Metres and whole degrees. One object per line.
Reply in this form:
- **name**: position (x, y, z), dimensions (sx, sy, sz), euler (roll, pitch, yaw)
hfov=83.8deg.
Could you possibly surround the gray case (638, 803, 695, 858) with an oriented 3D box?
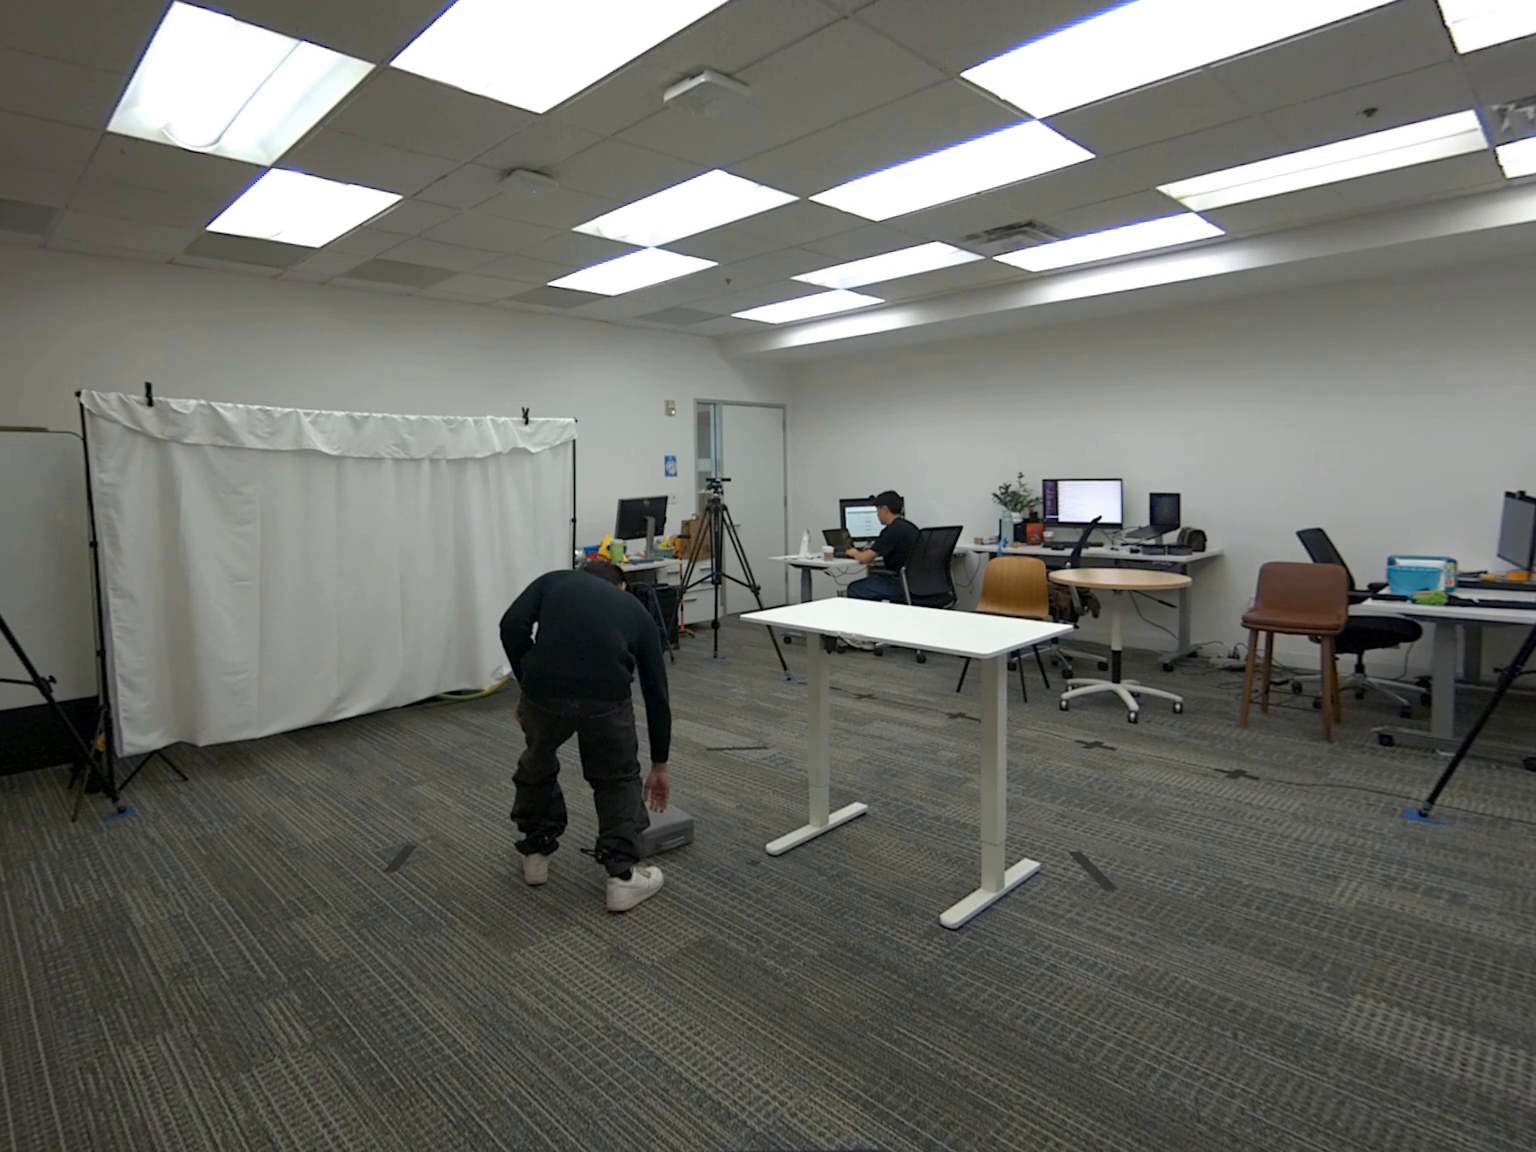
- **gray case**: position (-0.441, 0.966, 3.299), dimensions (0.250, 0.104, 0.269), euler (-3, 6, -39)
